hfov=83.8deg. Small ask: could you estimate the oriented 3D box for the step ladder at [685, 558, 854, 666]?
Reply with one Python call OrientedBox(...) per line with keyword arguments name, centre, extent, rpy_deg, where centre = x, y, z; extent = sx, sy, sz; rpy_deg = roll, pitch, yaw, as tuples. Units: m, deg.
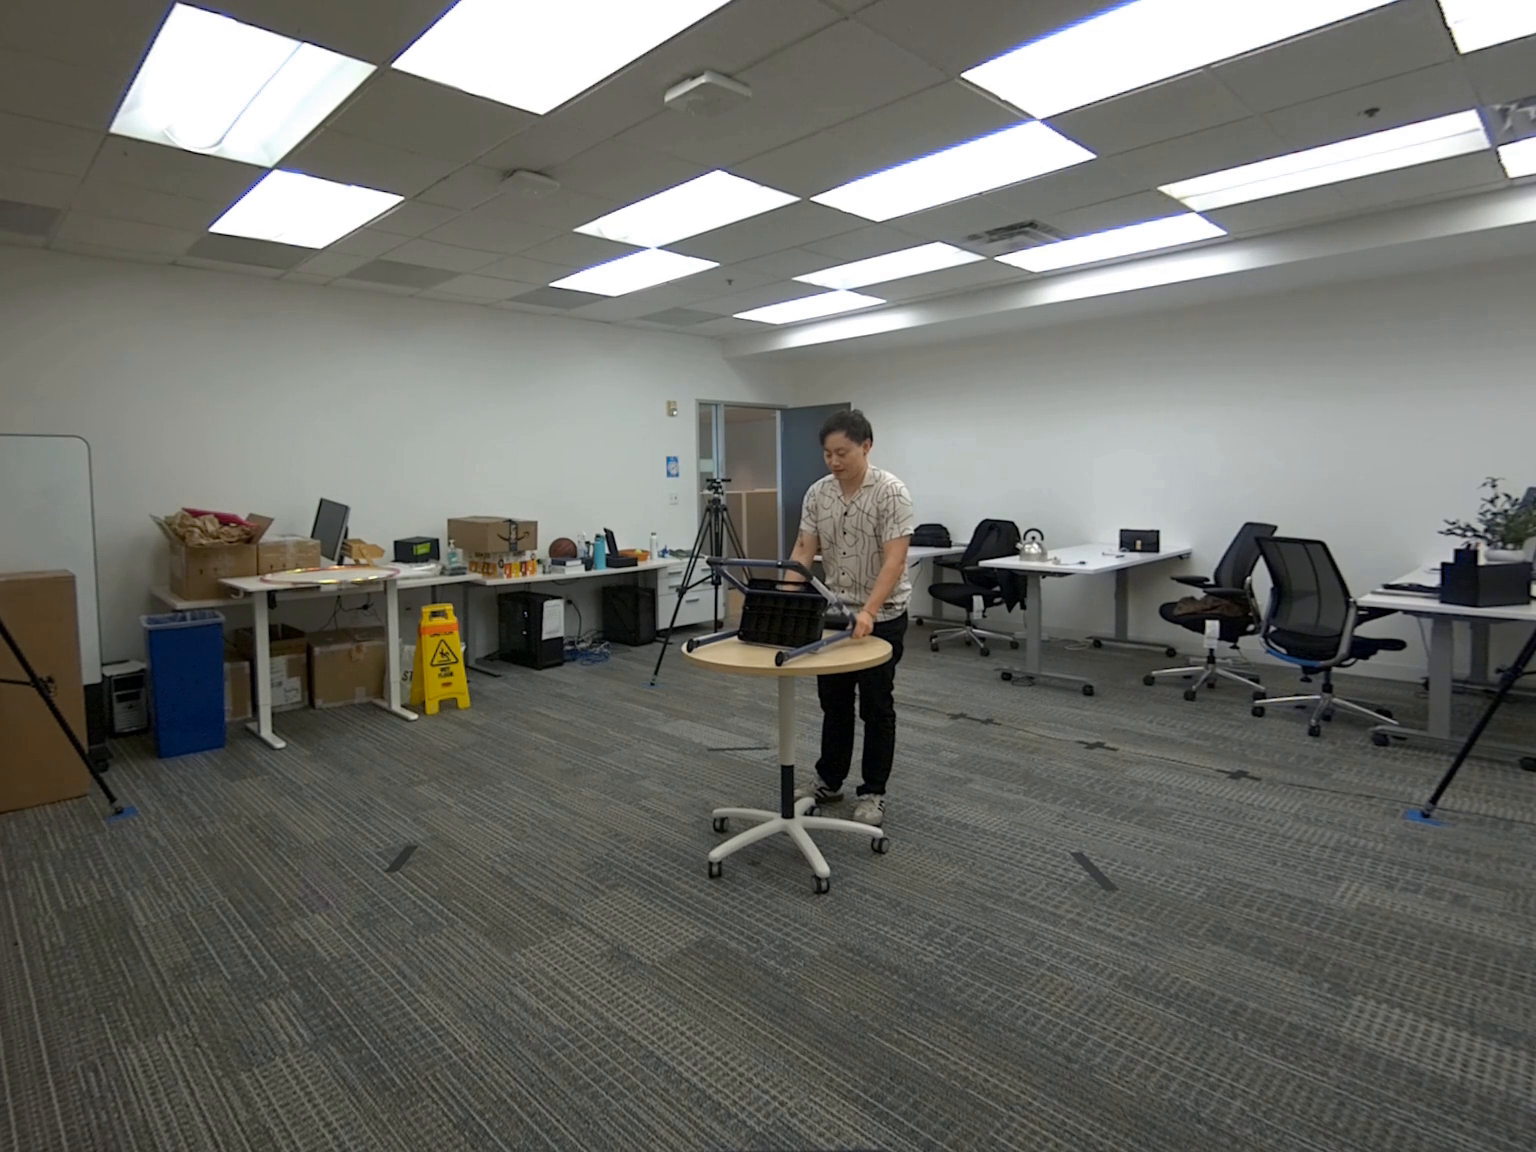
OrientedBox(name="step ladder", centre=(0.079, 0.178, 3.149), extent=(0.443, 0.352, 0.584), rpy_deg=(3, -12, 39))
